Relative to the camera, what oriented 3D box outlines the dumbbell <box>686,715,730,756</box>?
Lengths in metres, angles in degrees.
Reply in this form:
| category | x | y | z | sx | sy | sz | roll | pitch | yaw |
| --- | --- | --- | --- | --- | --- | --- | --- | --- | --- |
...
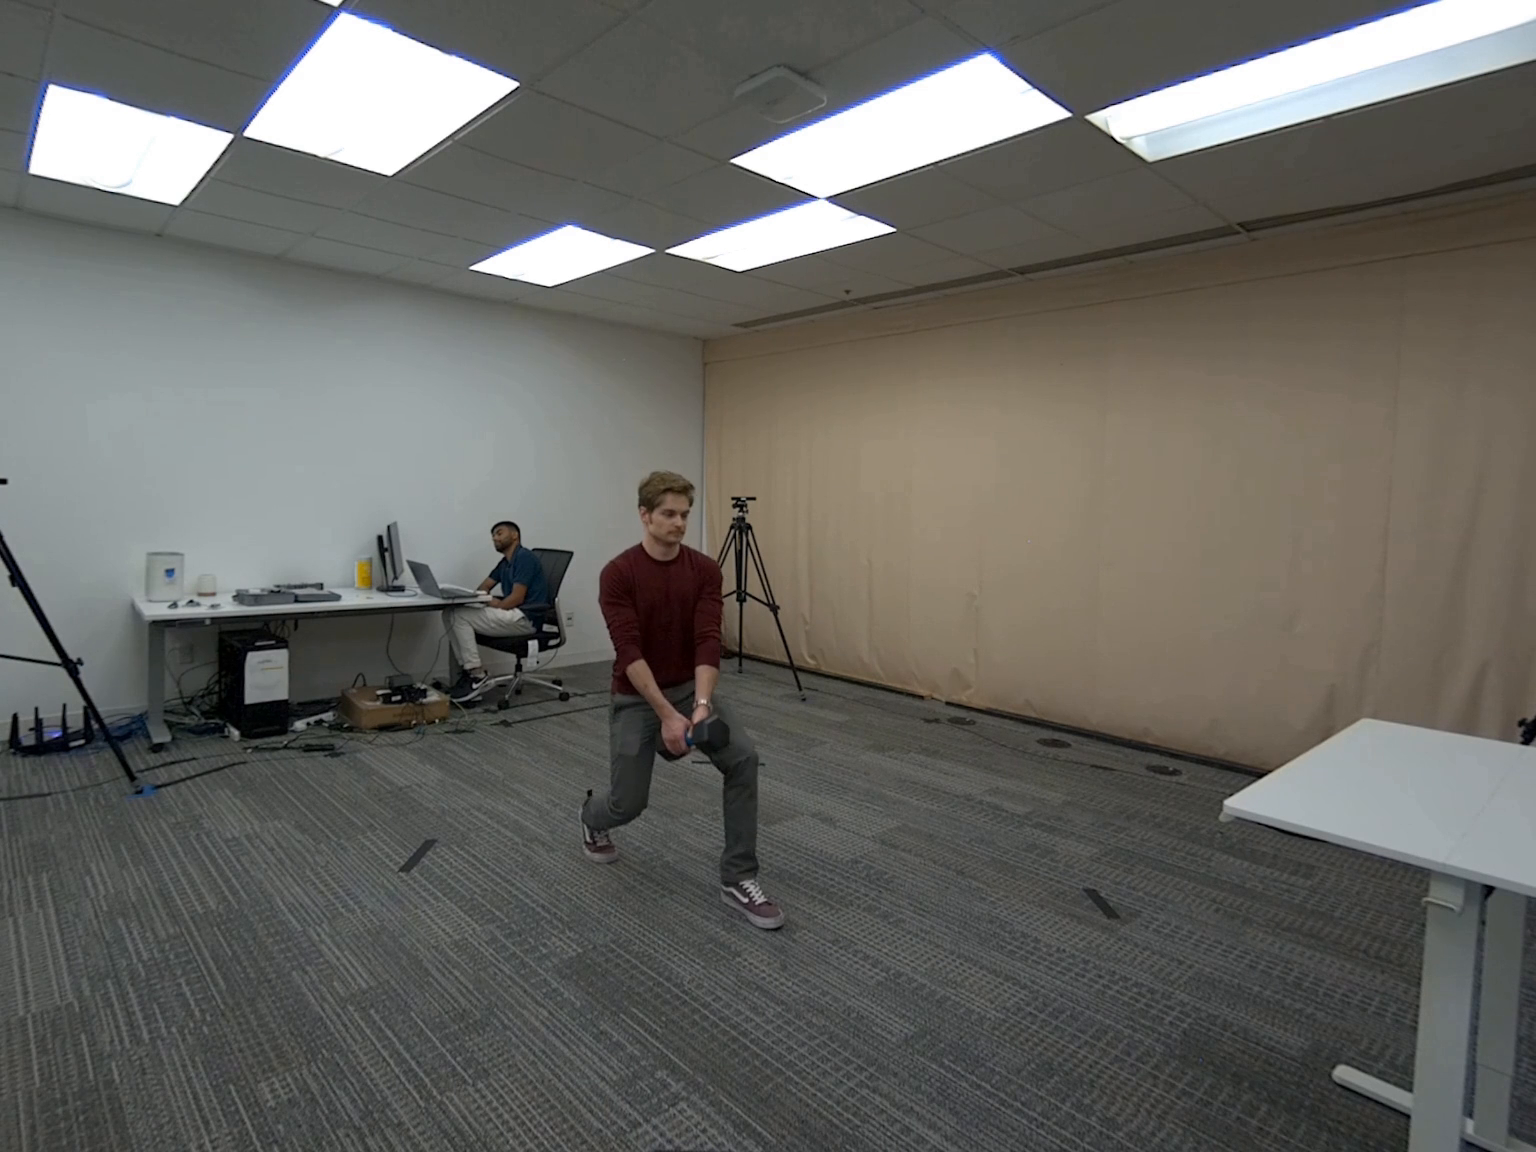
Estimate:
| category | x | y | z | sx | sy | sz | roll | pitch | yaw |
| --- | --- | --- | --- | --- | --- | --- | --- | --- | --- |
| dumbbell | -0.268 | 0.546 | 2.804 | 0.120 | 0.109 | 0.297 | 44 | -40 | -21 |
